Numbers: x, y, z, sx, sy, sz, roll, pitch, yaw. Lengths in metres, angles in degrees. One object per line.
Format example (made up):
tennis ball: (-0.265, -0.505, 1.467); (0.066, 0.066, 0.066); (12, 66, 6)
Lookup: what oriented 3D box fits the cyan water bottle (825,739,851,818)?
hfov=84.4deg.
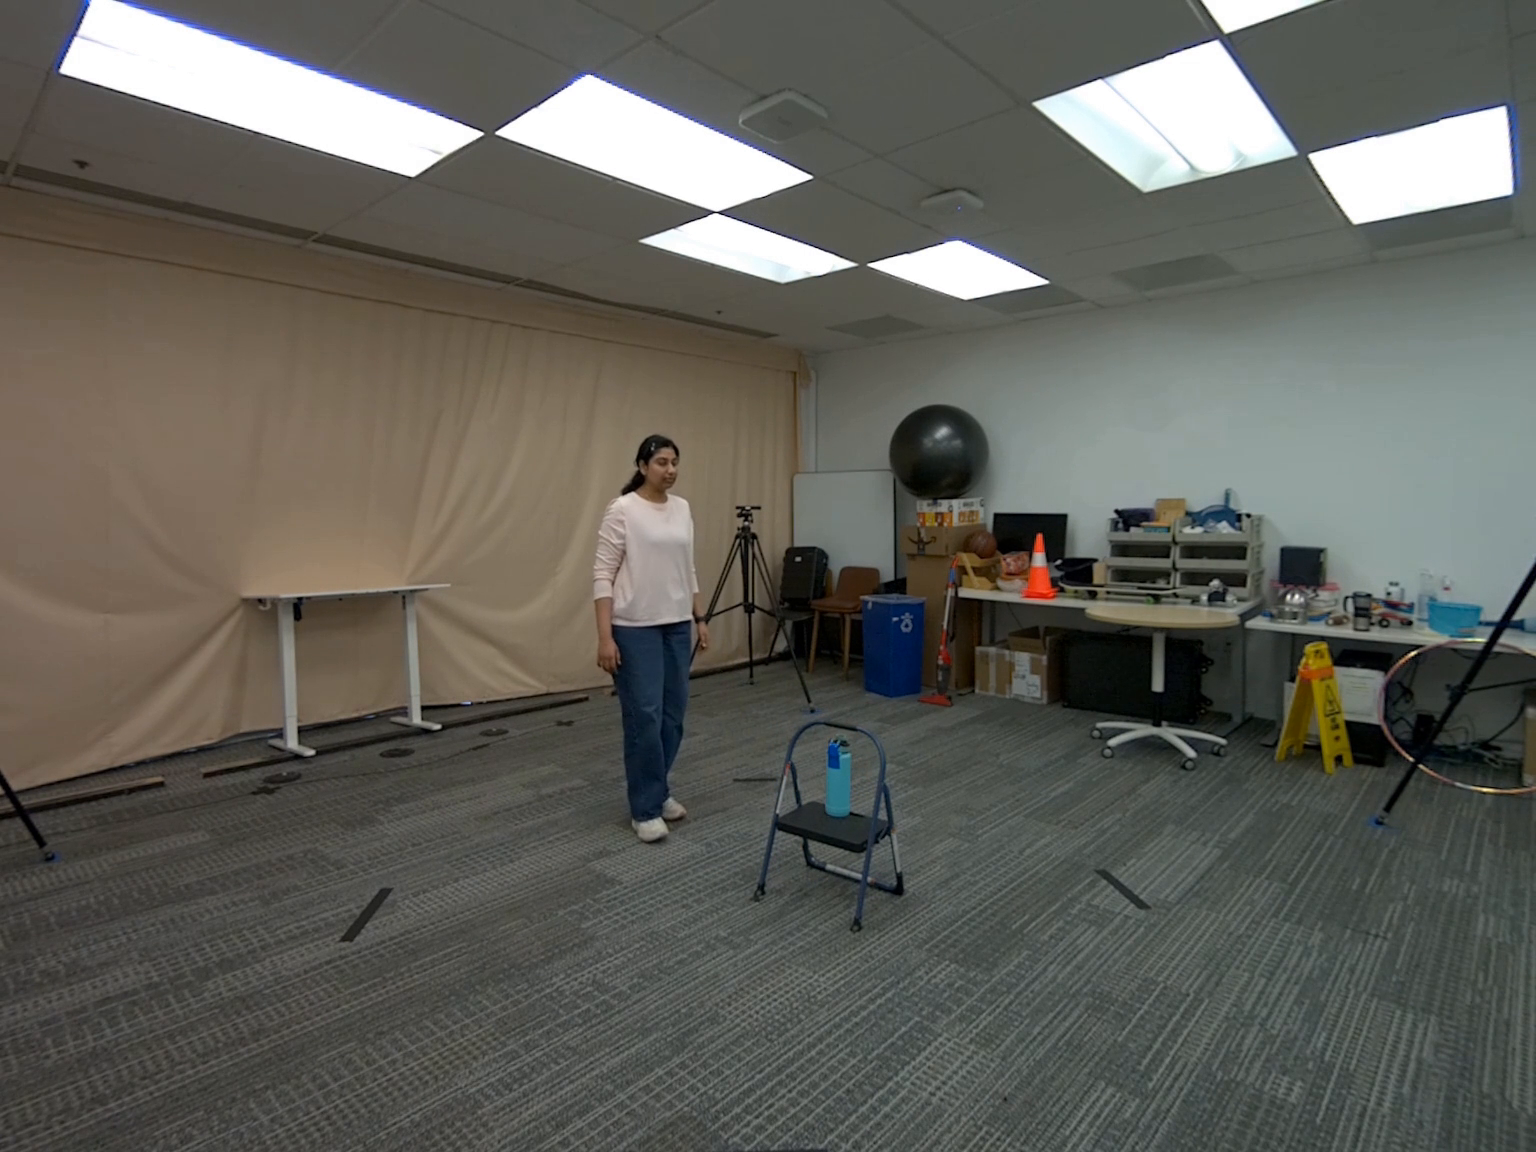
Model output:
cyan water bottle: (0.261, 0.735, 3.088); (0.092, 0.283, 0.092); (3, 3, -2)
